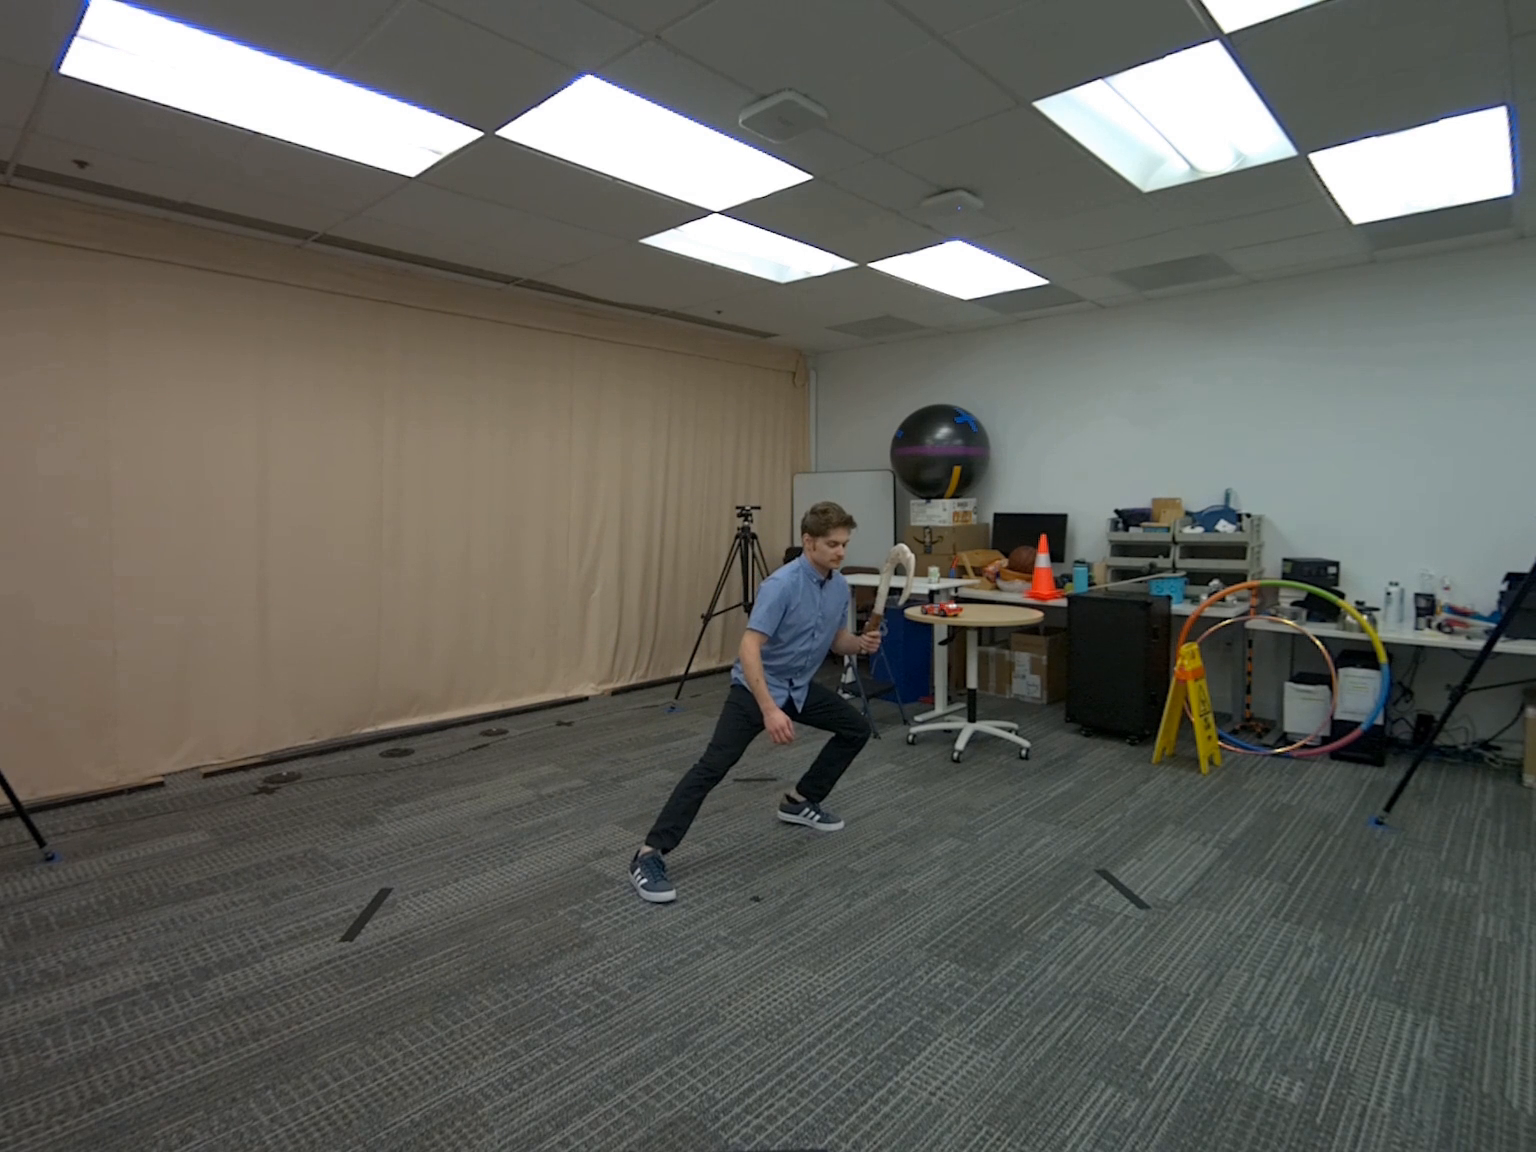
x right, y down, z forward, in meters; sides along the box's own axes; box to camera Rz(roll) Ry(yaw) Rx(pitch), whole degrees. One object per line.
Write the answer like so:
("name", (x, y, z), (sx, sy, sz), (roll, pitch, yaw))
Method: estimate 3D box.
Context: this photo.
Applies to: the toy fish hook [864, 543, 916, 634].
("toy fish hook", (0.459, 0.115, 3.256), (0.047, 0.503, 0.230), (9, 26, -16))
